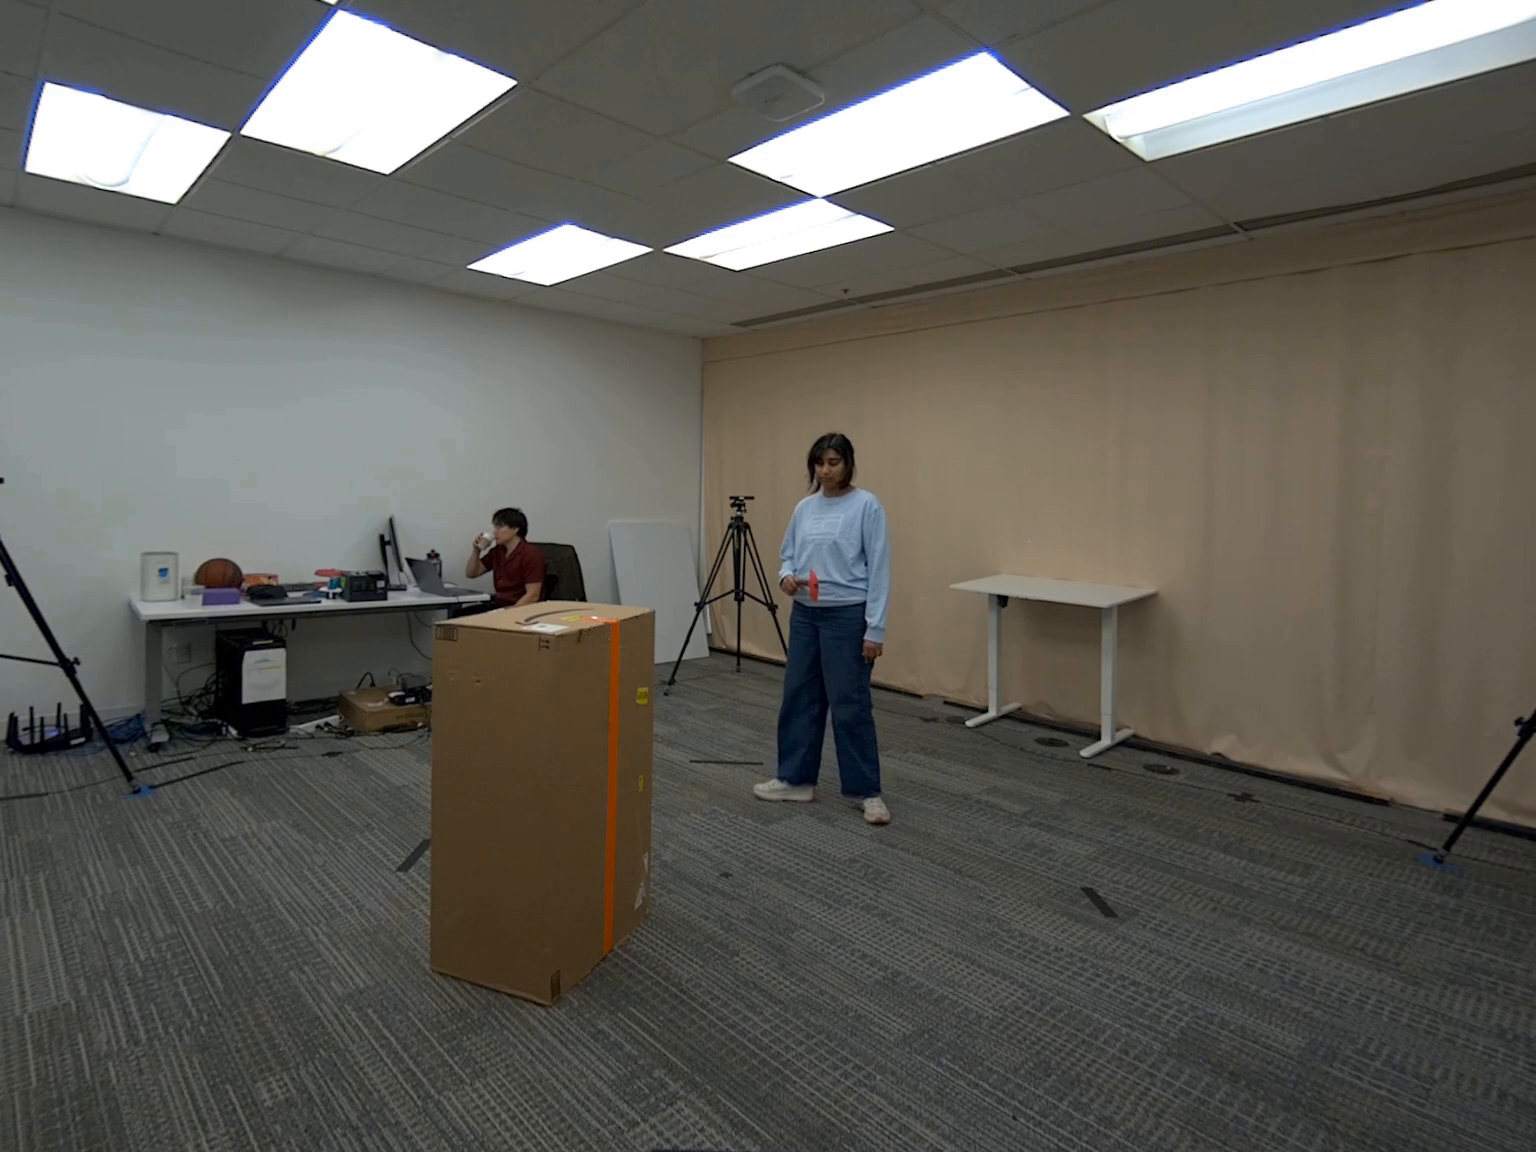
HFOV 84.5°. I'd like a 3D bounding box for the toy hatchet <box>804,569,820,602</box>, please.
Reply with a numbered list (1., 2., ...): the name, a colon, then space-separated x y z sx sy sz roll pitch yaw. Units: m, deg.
1. toy hatchet: 0.154 0.060 3.596 0.029 0.132 0.269 -14 -11 -17
